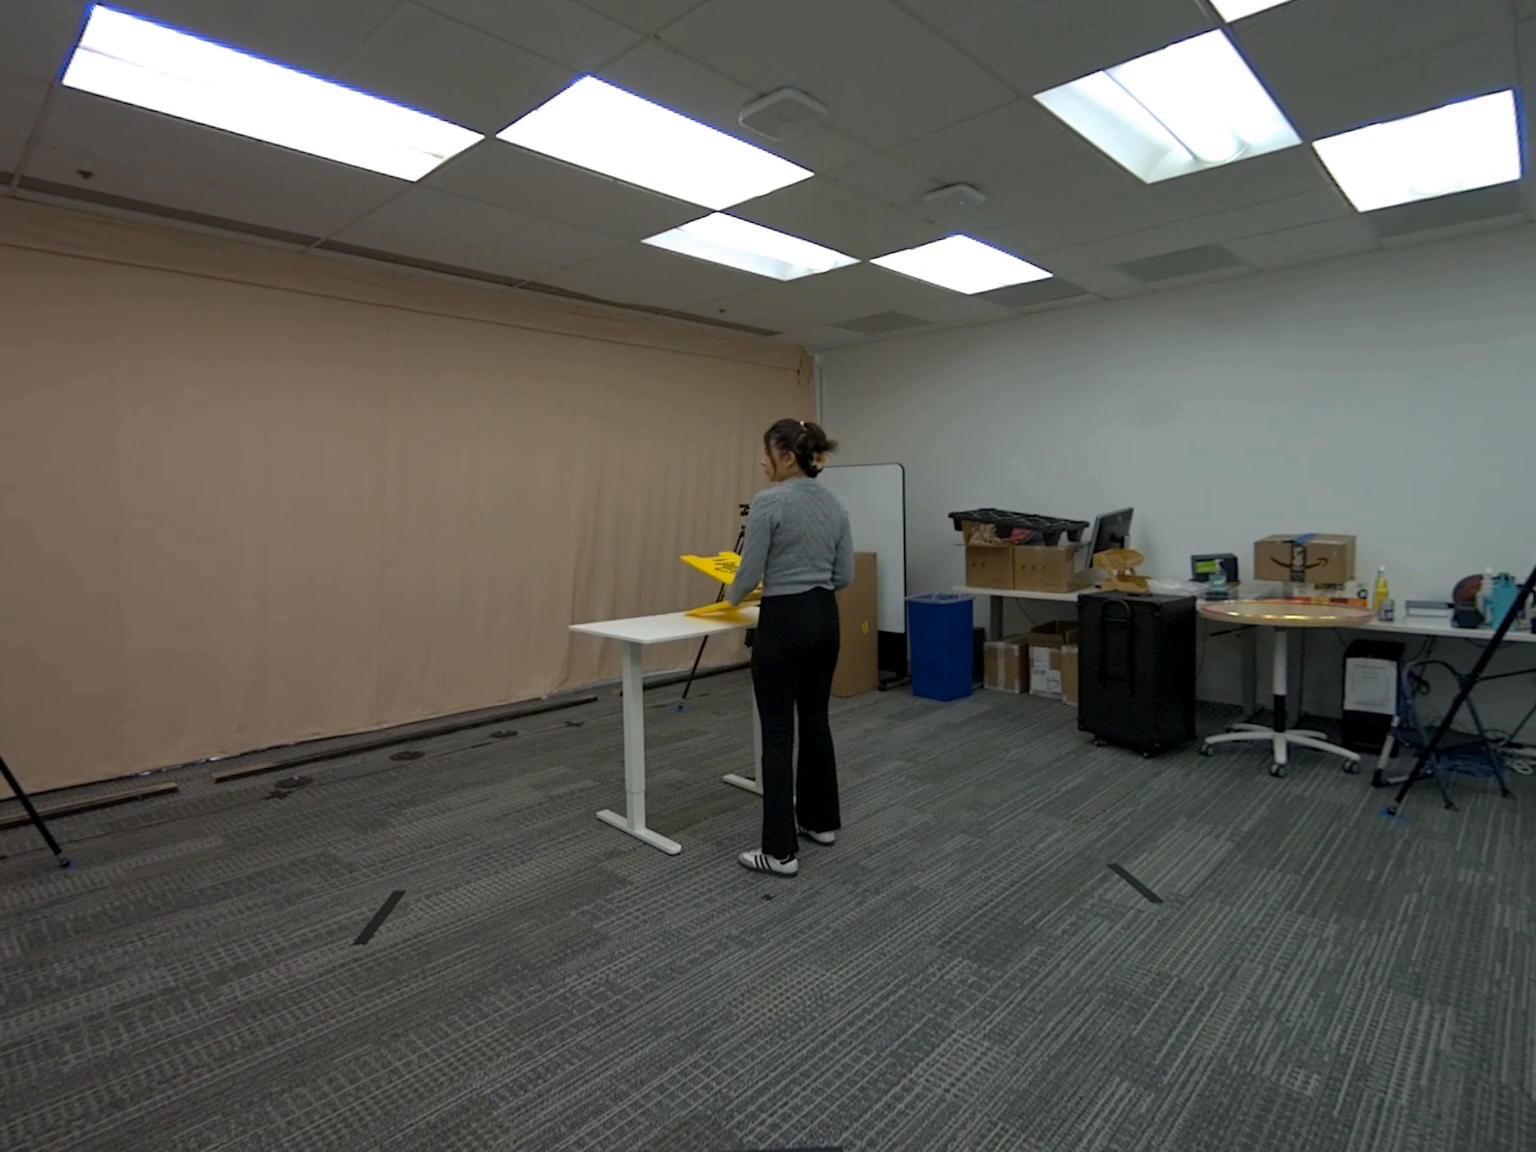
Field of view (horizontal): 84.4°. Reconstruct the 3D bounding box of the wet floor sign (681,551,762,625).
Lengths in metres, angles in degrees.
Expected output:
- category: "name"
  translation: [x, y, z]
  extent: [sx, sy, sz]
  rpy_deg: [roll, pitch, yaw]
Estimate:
- category: "wet floor sign"
  translation: [-0.124, 0.051, 3.741]
  extent: [0.275, 0.289, 0.663]
  rpy_deg: [-6, 5, -28]
